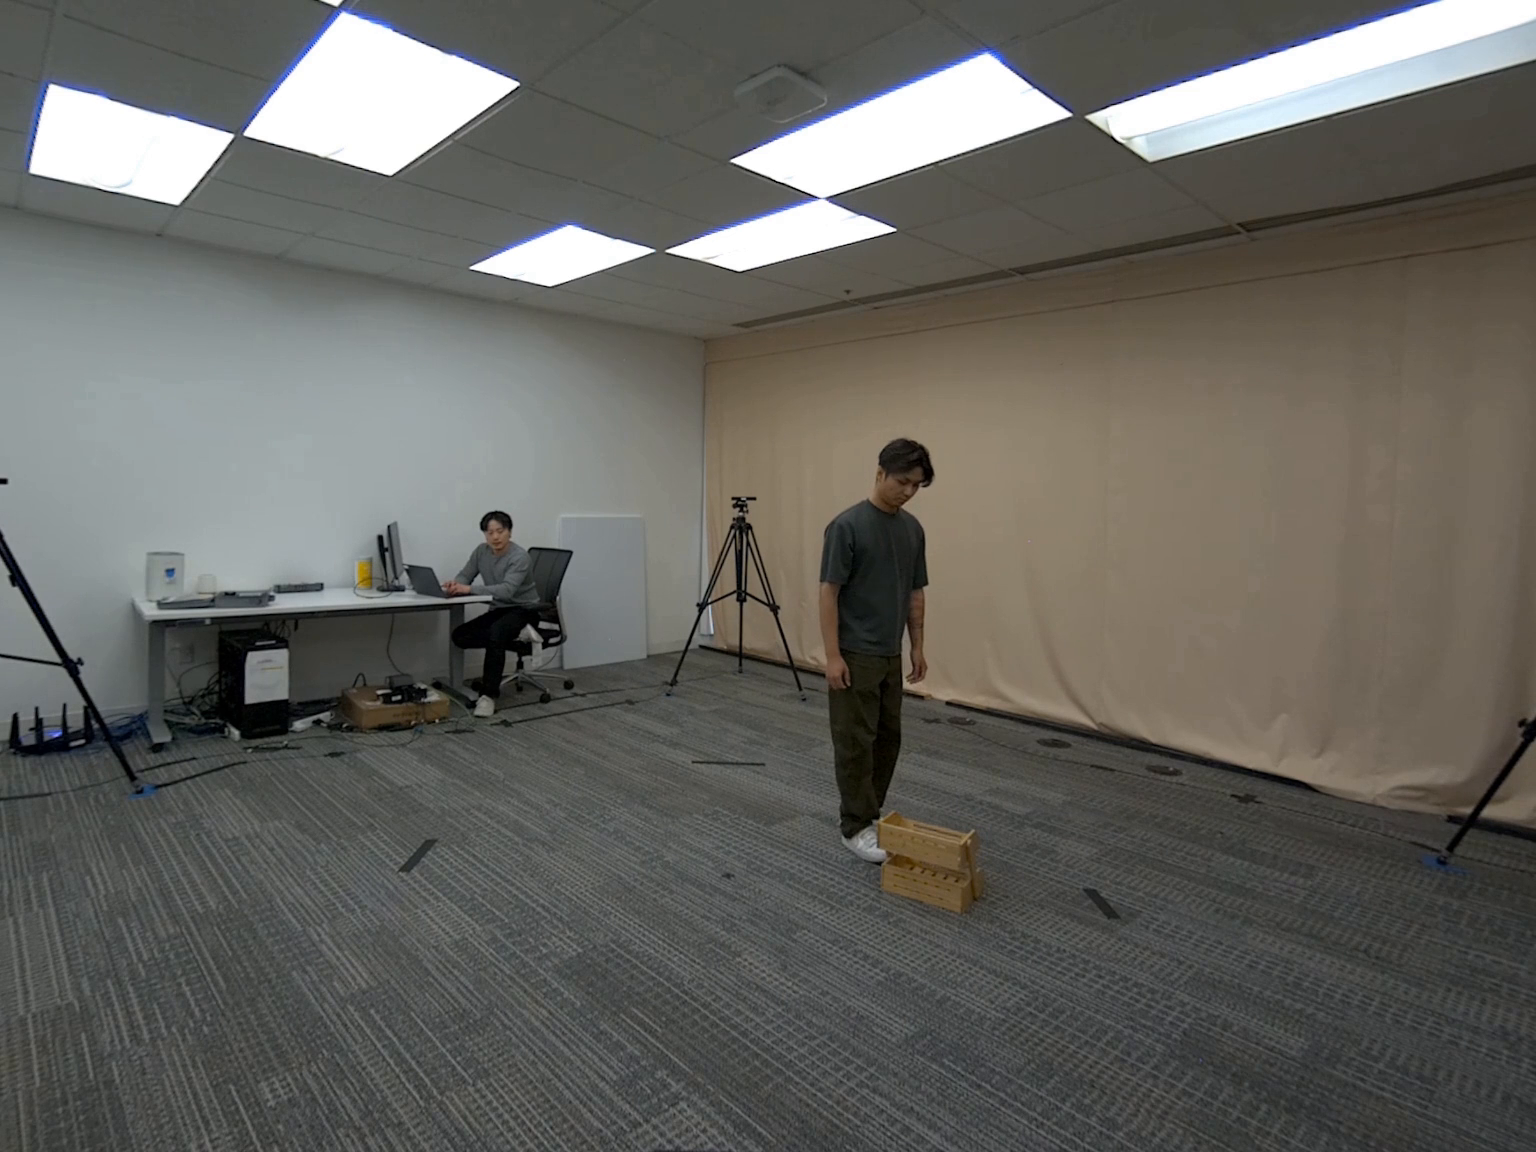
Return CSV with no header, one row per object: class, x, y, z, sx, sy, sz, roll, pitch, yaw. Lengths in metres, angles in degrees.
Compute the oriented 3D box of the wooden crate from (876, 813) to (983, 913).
wooden crate,0.581,1.000,3.020,0.332,0.272,0.296,4,5,32
